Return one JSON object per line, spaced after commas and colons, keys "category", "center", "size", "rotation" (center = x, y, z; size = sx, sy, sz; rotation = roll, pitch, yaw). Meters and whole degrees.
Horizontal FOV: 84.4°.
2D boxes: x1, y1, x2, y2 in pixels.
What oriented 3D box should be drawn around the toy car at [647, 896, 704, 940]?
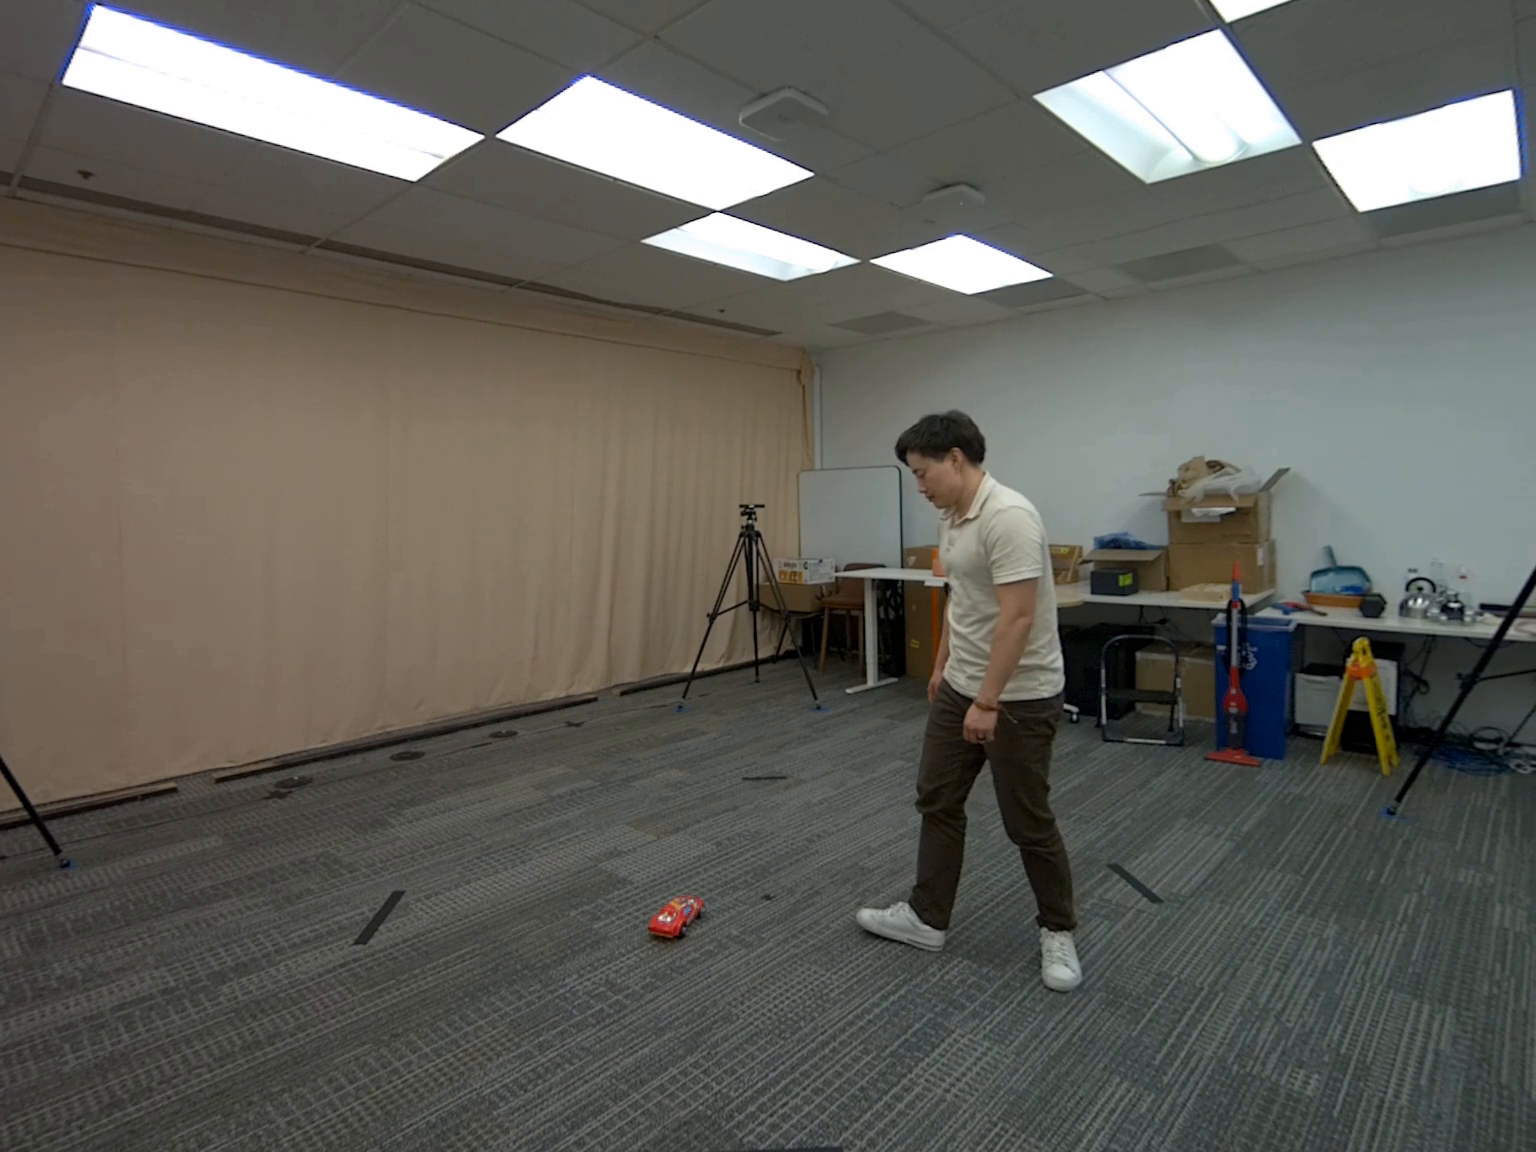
{"category": "toy car", "center": [-0.302, 1.129, 2.782], "size": [0.133, 0.083, 0.248], "rotation": [1, -6, 22]}
